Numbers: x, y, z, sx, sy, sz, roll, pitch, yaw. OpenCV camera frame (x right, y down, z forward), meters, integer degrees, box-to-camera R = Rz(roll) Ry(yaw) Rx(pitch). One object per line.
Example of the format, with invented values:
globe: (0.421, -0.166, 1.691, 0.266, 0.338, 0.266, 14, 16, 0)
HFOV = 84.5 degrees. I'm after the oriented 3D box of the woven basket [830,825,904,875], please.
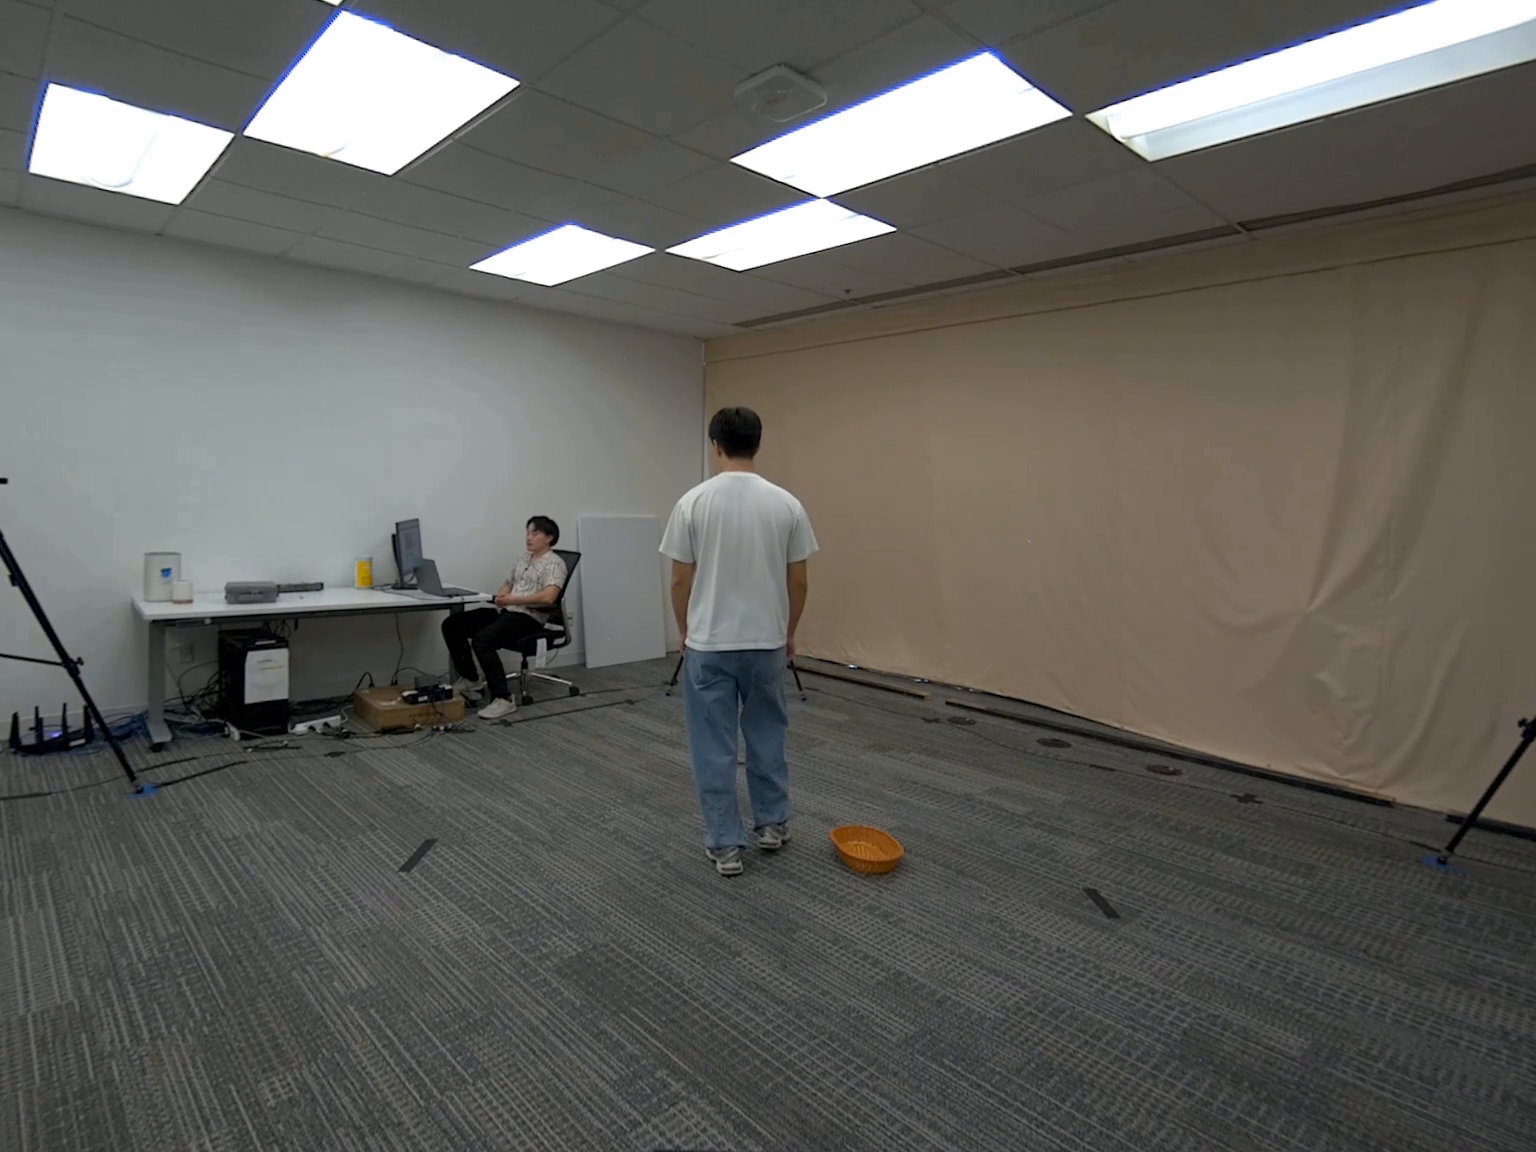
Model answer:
woven basket: (0.370, 1.061, 3.278, 0.249, 0.073, 0.356, 0, 5, -16)
